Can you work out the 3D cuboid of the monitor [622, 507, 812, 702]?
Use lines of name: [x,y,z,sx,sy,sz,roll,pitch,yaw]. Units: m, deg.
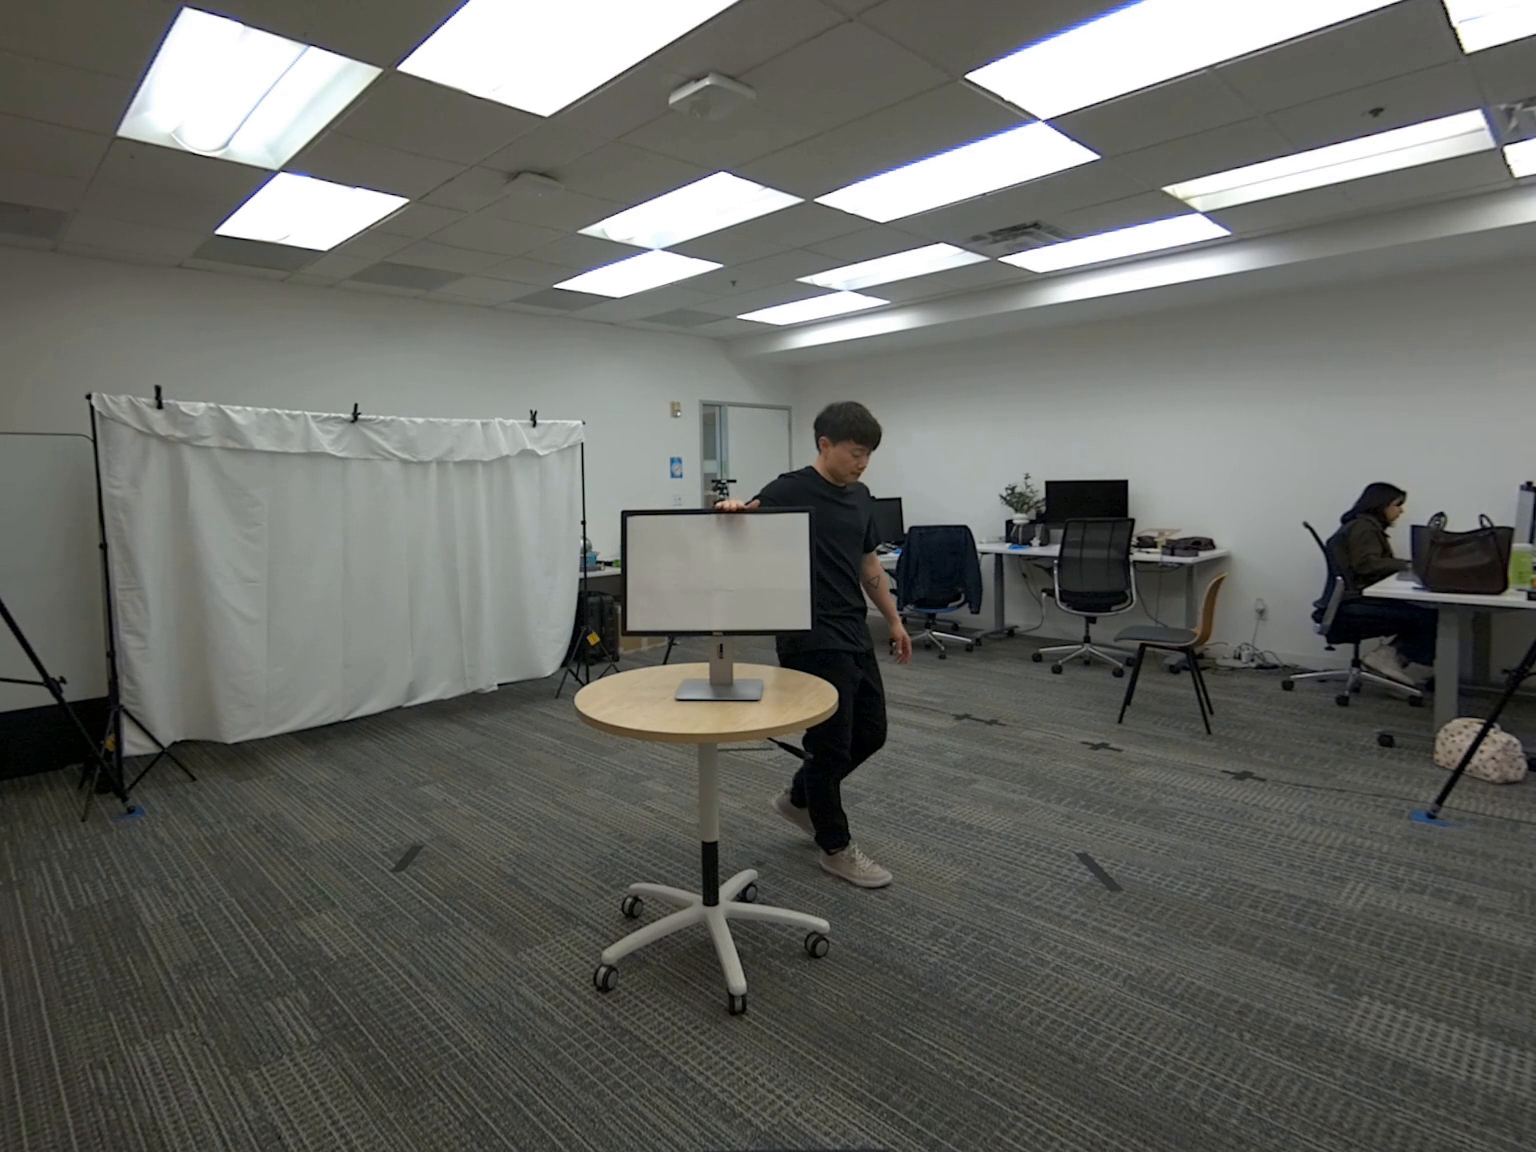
monitor: [-0.146,0.079,2.490,0.540,0.520,0.188,-2,5,2]
